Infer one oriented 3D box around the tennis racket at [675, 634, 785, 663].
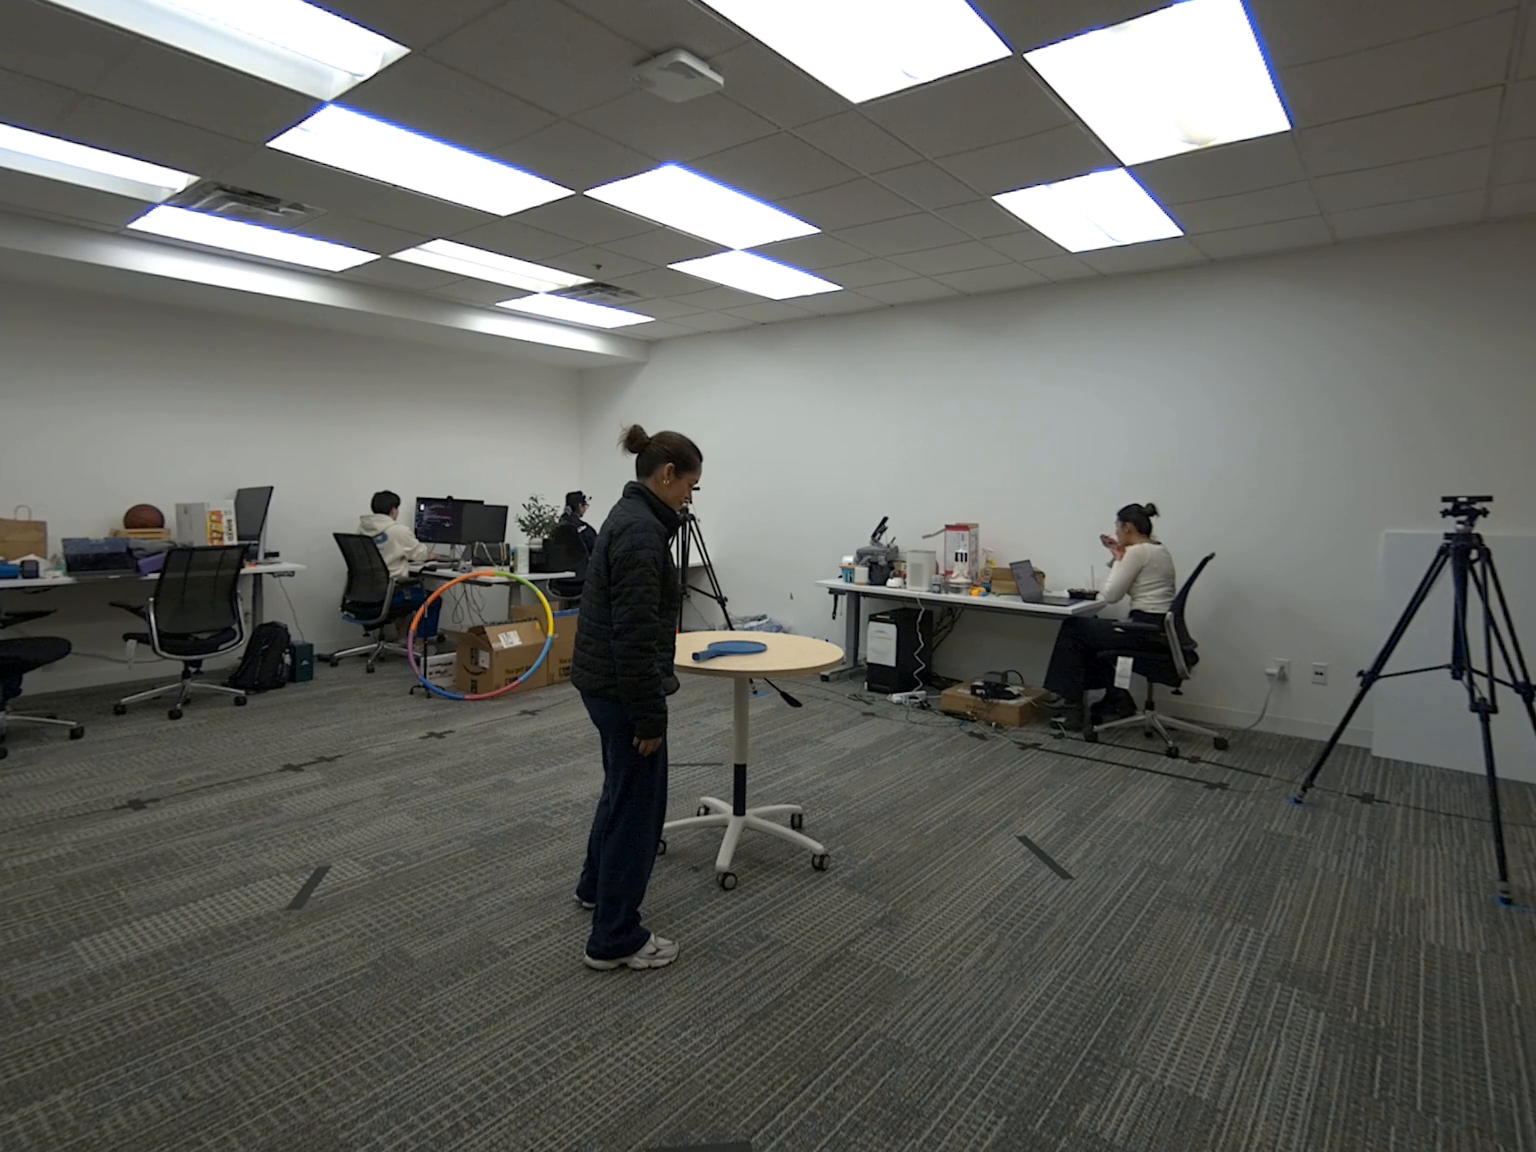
[{"bbox_3d":[-0.139,0.267,3.160,0.220,0.032,0.421,4,5,30],"label":"tennis racket"}]
